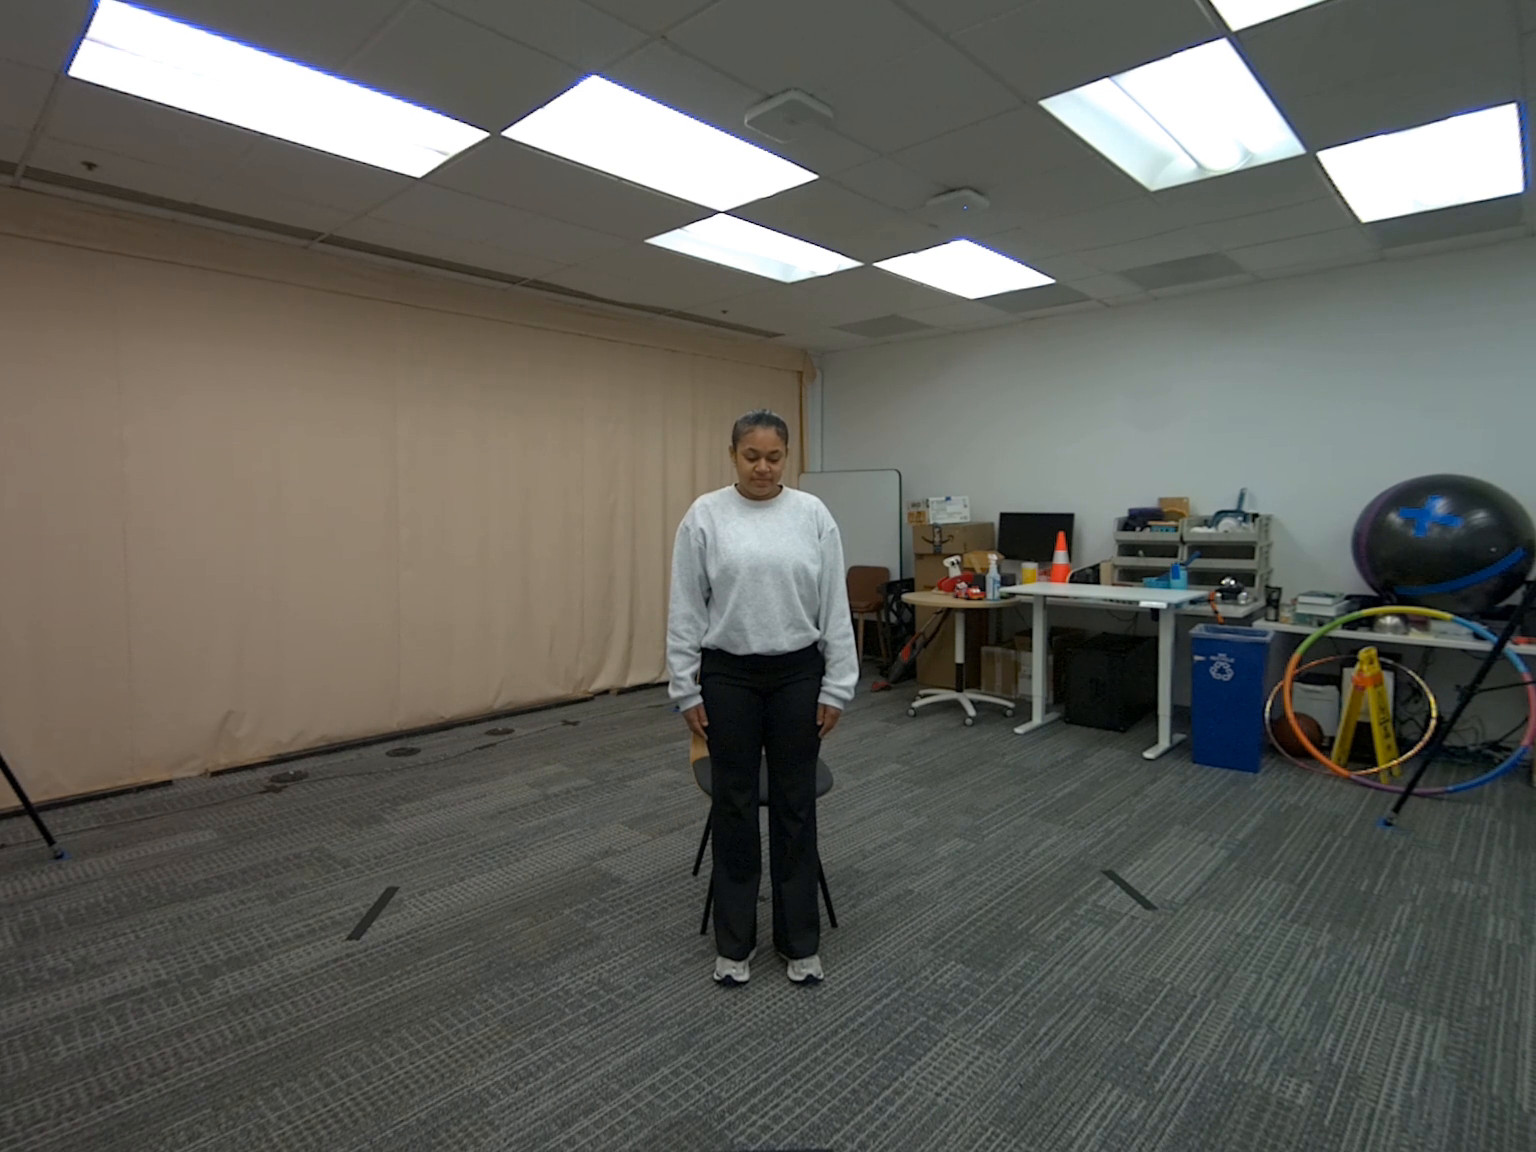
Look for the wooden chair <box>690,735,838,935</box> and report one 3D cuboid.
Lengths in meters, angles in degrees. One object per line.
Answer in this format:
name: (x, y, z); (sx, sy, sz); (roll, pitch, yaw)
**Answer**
wooden chair: (-0.026, 0.715, 2.940); (0.475, 0.878, 0.527); (0, -1, -8)
